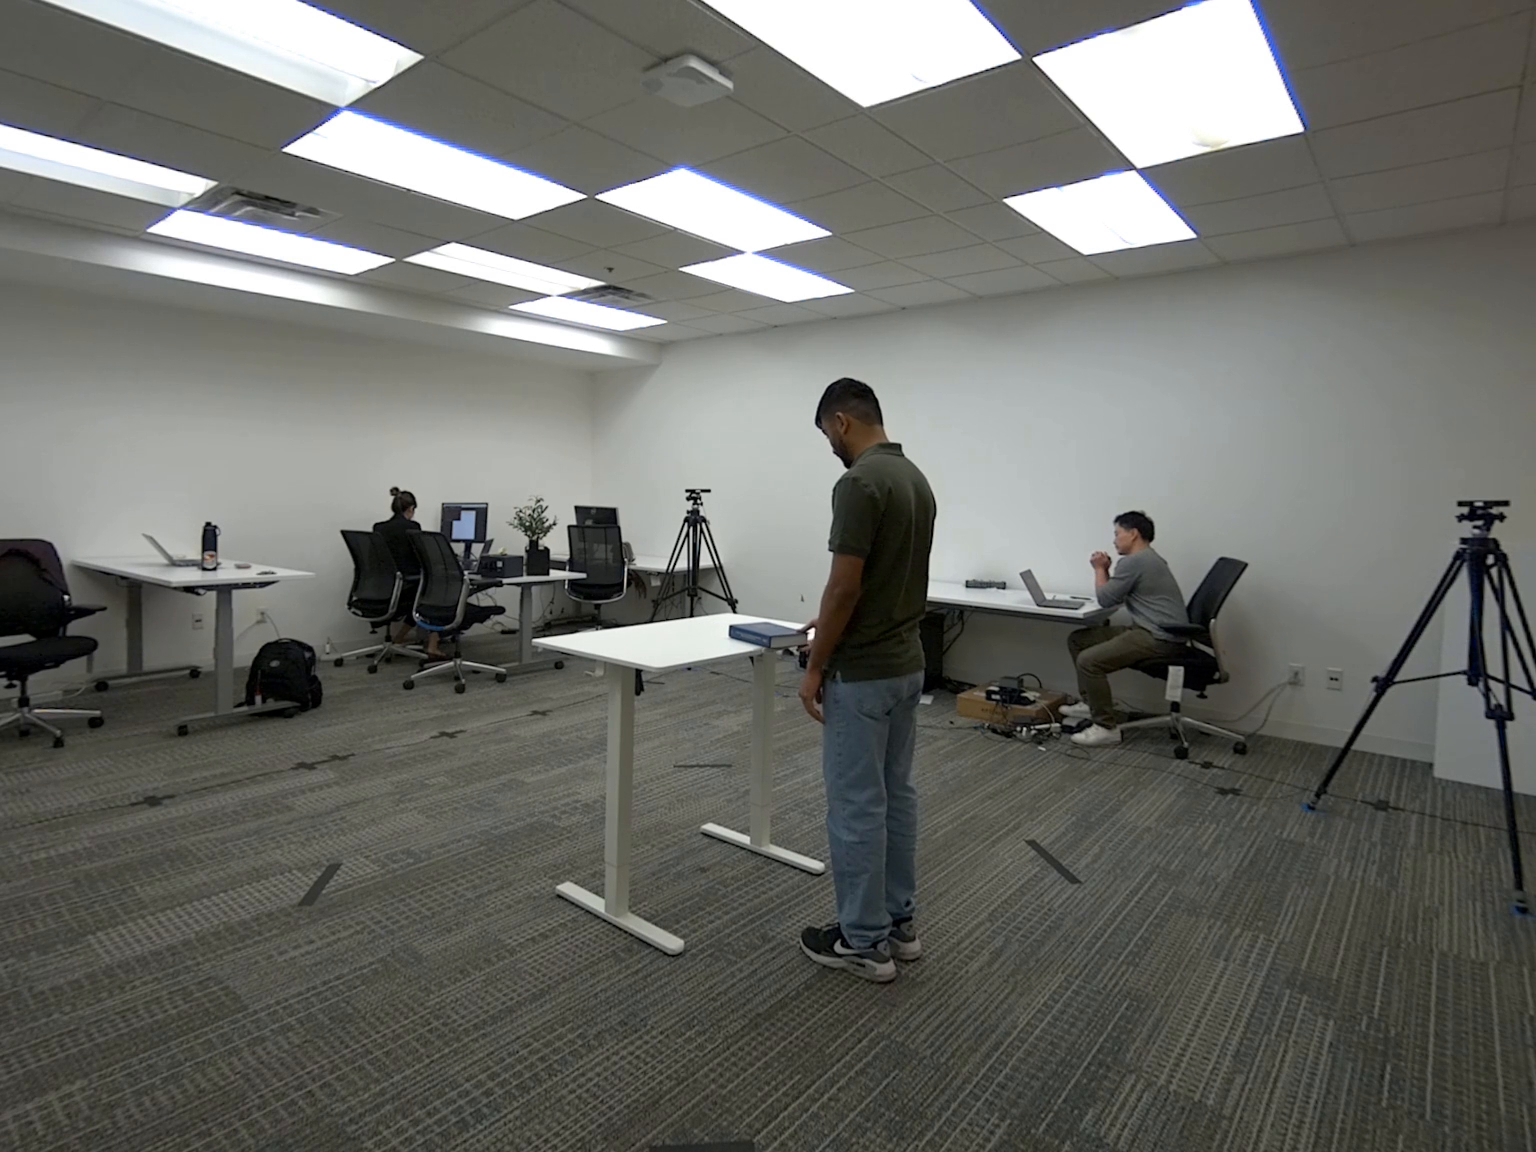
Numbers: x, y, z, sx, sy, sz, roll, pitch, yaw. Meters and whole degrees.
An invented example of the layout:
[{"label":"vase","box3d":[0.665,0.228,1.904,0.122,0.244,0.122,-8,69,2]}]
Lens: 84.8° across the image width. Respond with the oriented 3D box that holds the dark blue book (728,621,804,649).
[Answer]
[{"label":"dark blue book","box3d":[-0.006,0.198,2.877,0.158,0.045,0.253,-2,6,-37]}]
